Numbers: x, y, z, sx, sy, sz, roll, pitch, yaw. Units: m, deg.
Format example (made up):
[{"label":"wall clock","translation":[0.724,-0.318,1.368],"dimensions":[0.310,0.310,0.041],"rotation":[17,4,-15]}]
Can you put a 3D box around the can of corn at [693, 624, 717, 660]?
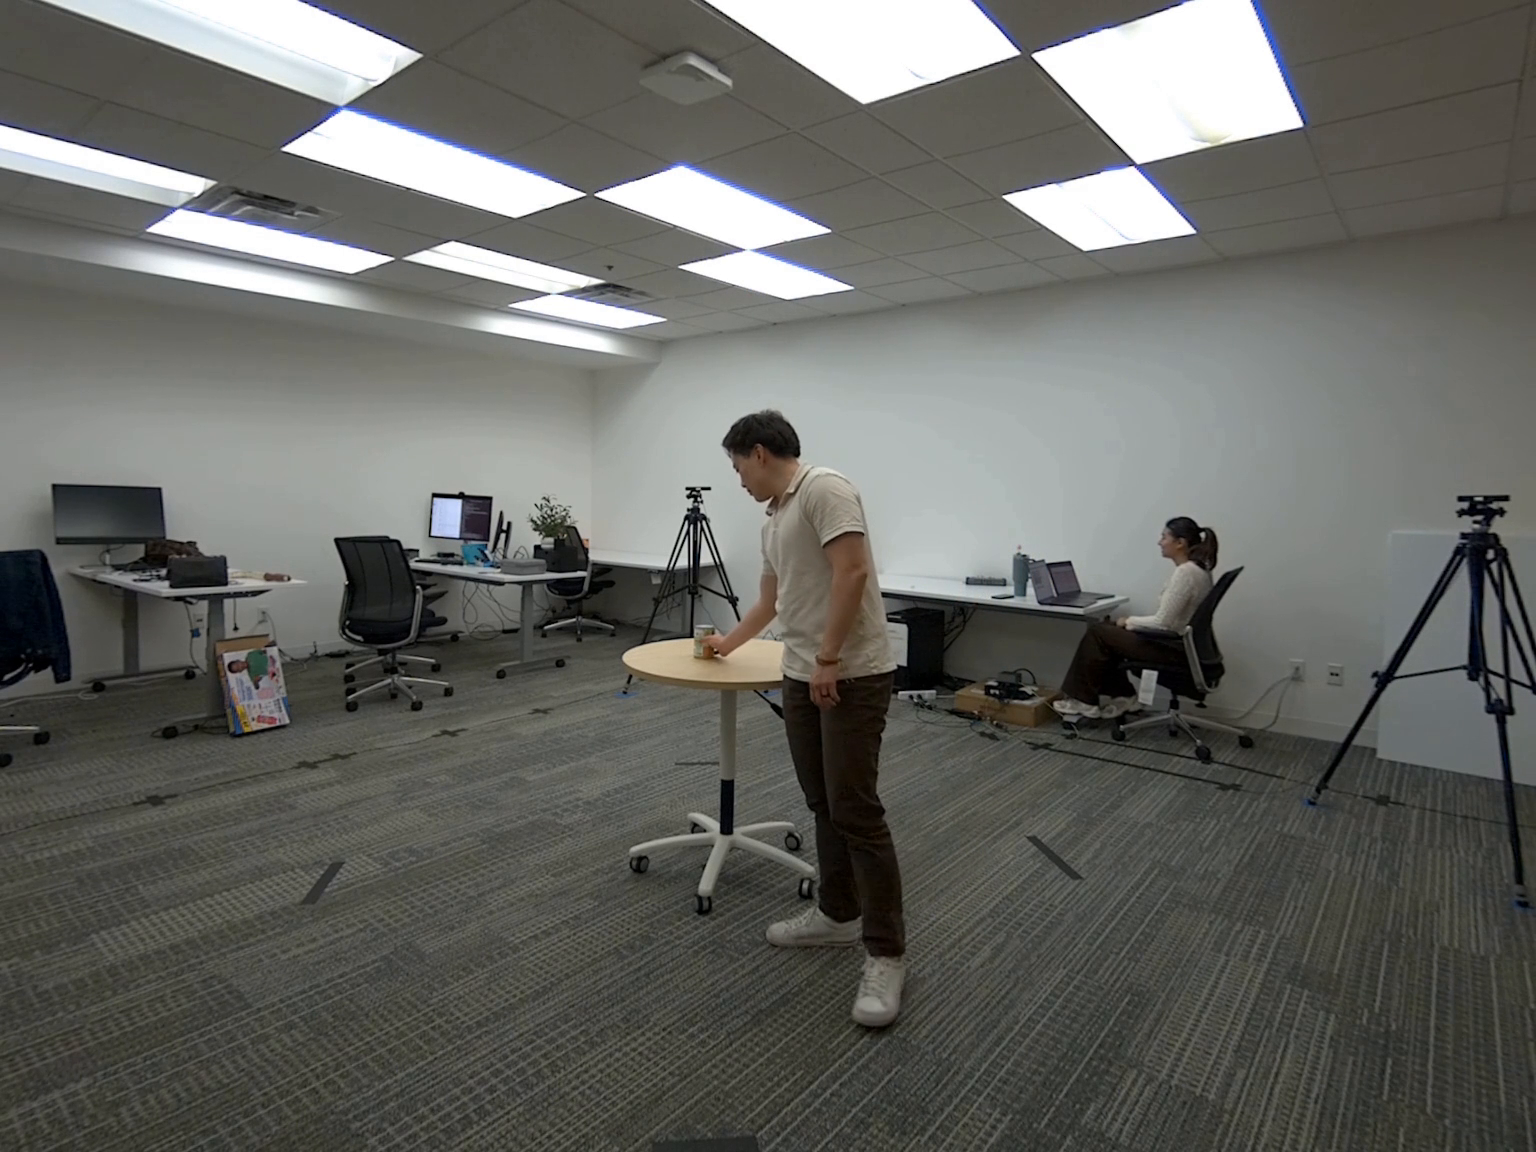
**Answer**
[{"label":"can of corn","translation":[-0.239,0.231,3.039],"dimensions":[0.074,0.111,0.074],"rotation":[1,2,-2]}]
